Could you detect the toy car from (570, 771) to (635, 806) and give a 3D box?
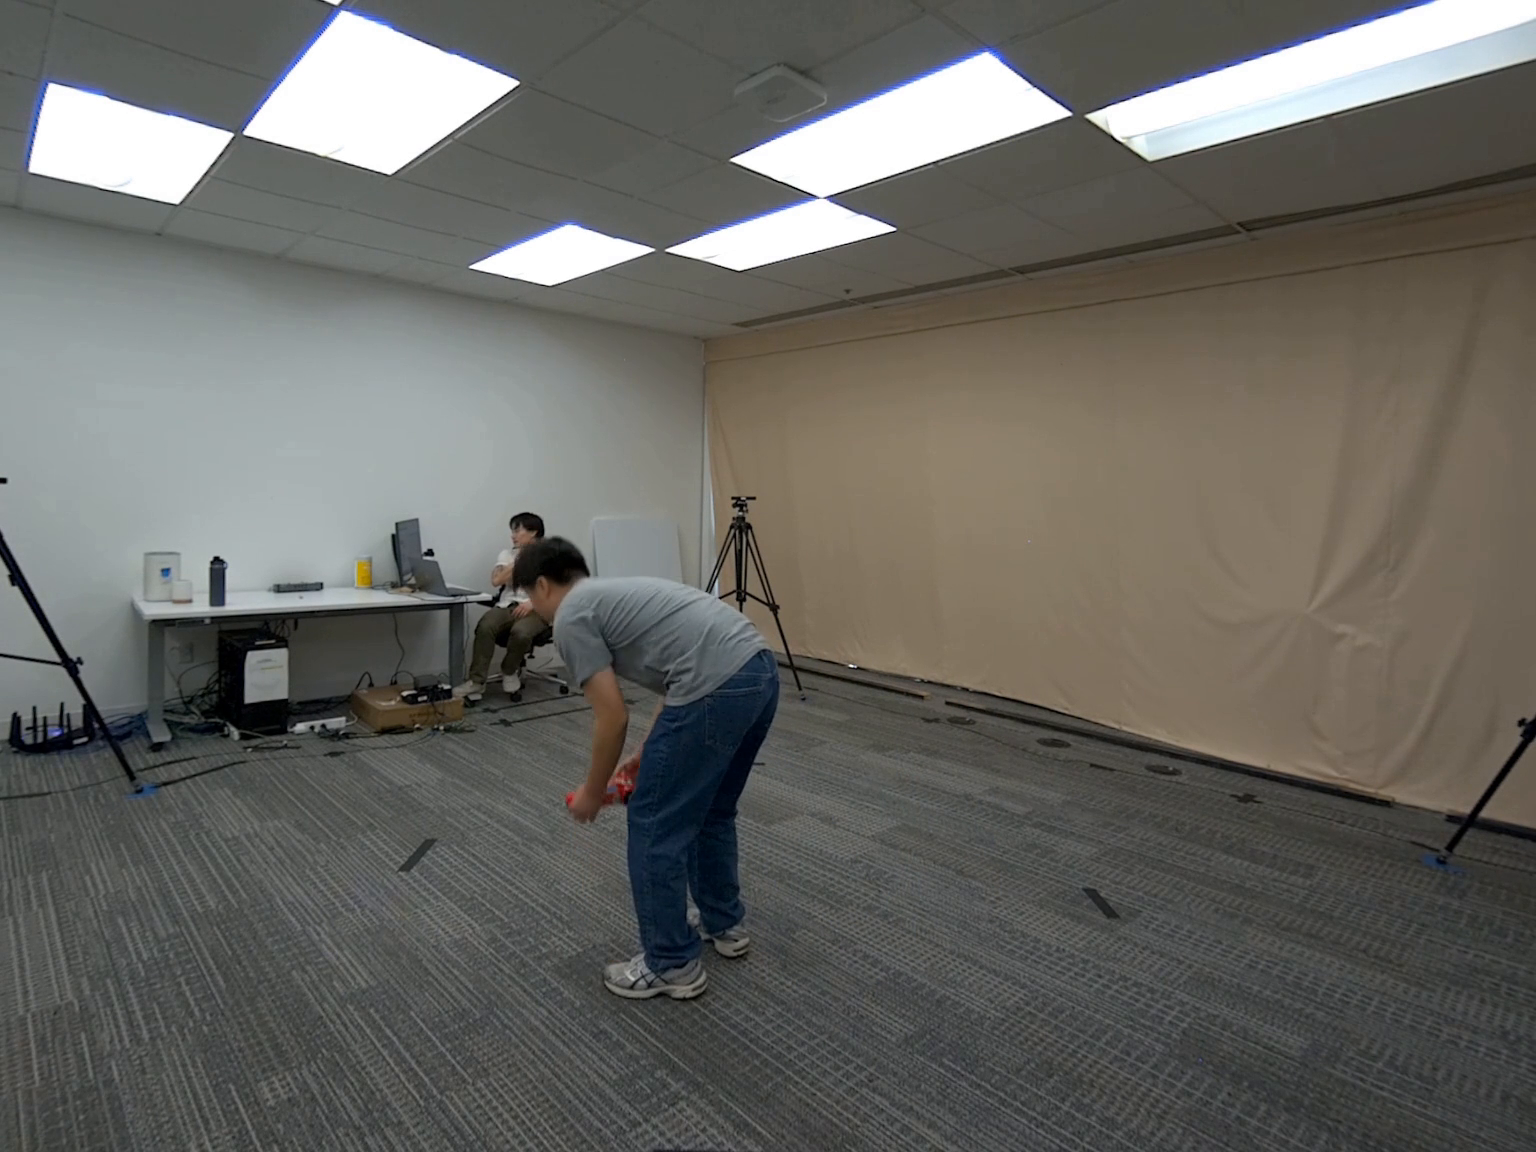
[{"bbox_3d":[-0.507,0.701,2.604,0.129,0.260,0.082,3,-35,-8],"label":"toy car"}]
